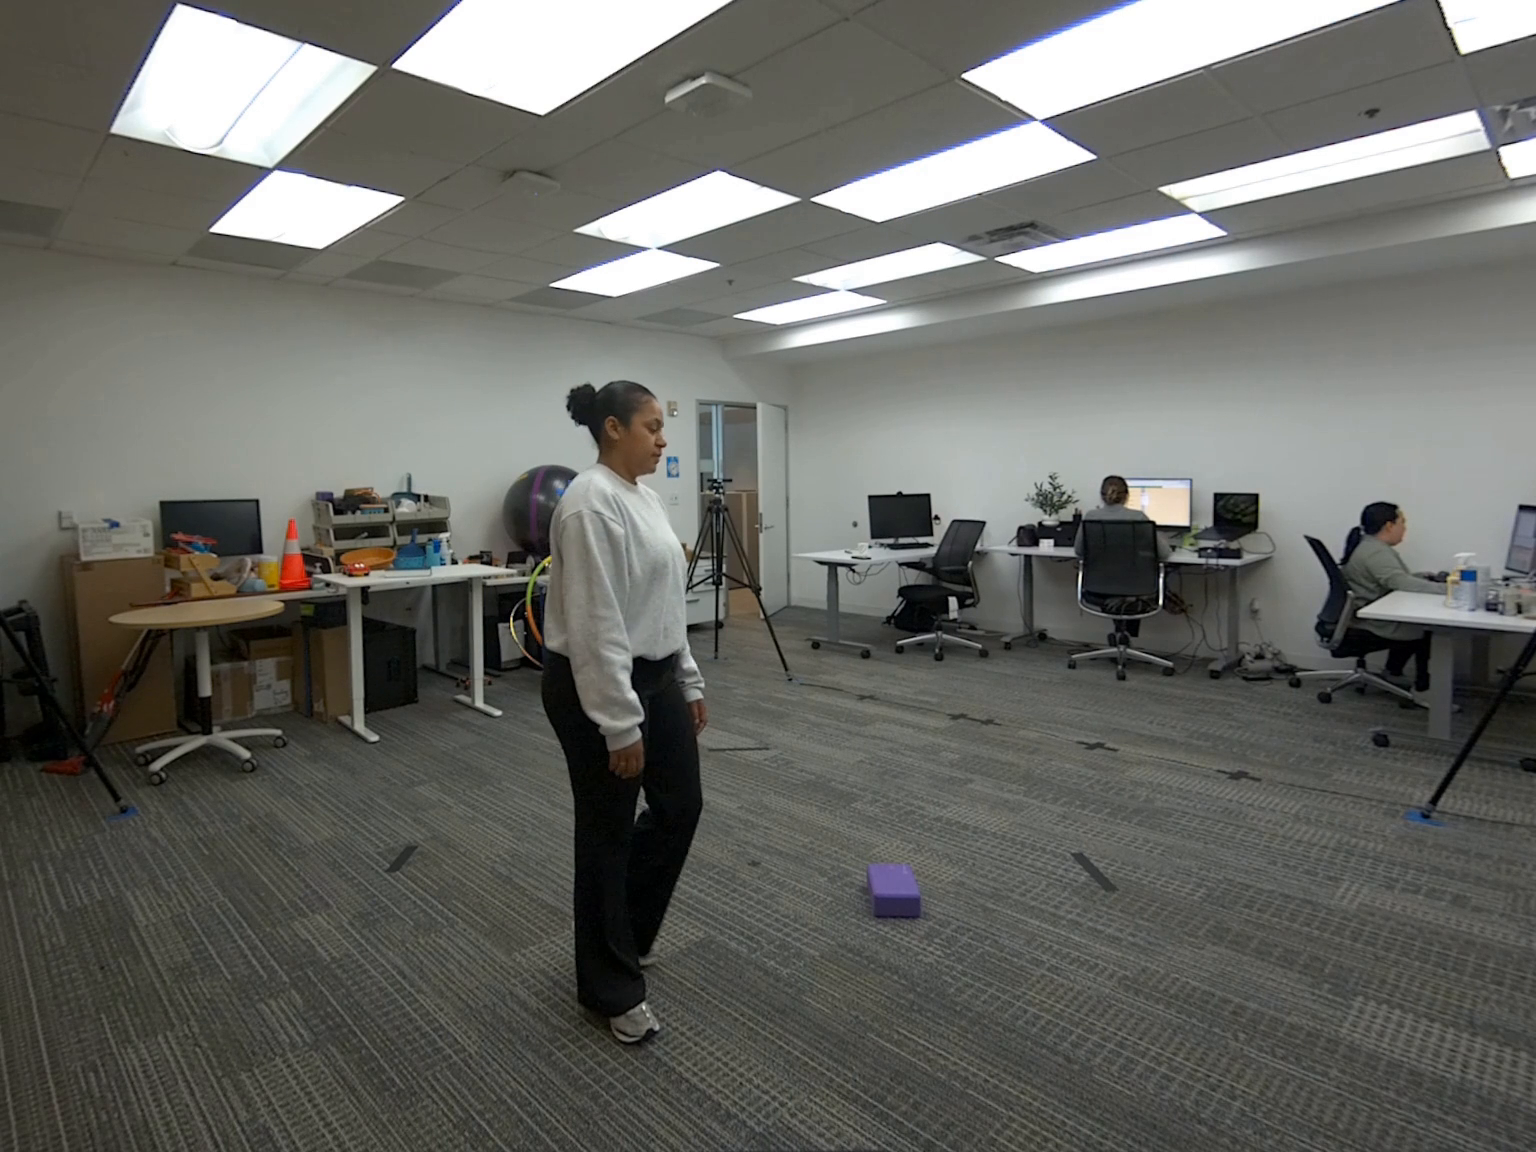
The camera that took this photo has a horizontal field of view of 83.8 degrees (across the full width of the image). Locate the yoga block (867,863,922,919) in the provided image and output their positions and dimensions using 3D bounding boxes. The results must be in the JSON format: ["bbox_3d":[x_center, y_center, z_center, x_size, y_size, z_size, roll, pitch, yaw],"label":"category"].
[{"bbox_3d":[0.416,1.031,2.809,0.149,0.076,0.229,-3,6,2],"label":"yoga block"}]
